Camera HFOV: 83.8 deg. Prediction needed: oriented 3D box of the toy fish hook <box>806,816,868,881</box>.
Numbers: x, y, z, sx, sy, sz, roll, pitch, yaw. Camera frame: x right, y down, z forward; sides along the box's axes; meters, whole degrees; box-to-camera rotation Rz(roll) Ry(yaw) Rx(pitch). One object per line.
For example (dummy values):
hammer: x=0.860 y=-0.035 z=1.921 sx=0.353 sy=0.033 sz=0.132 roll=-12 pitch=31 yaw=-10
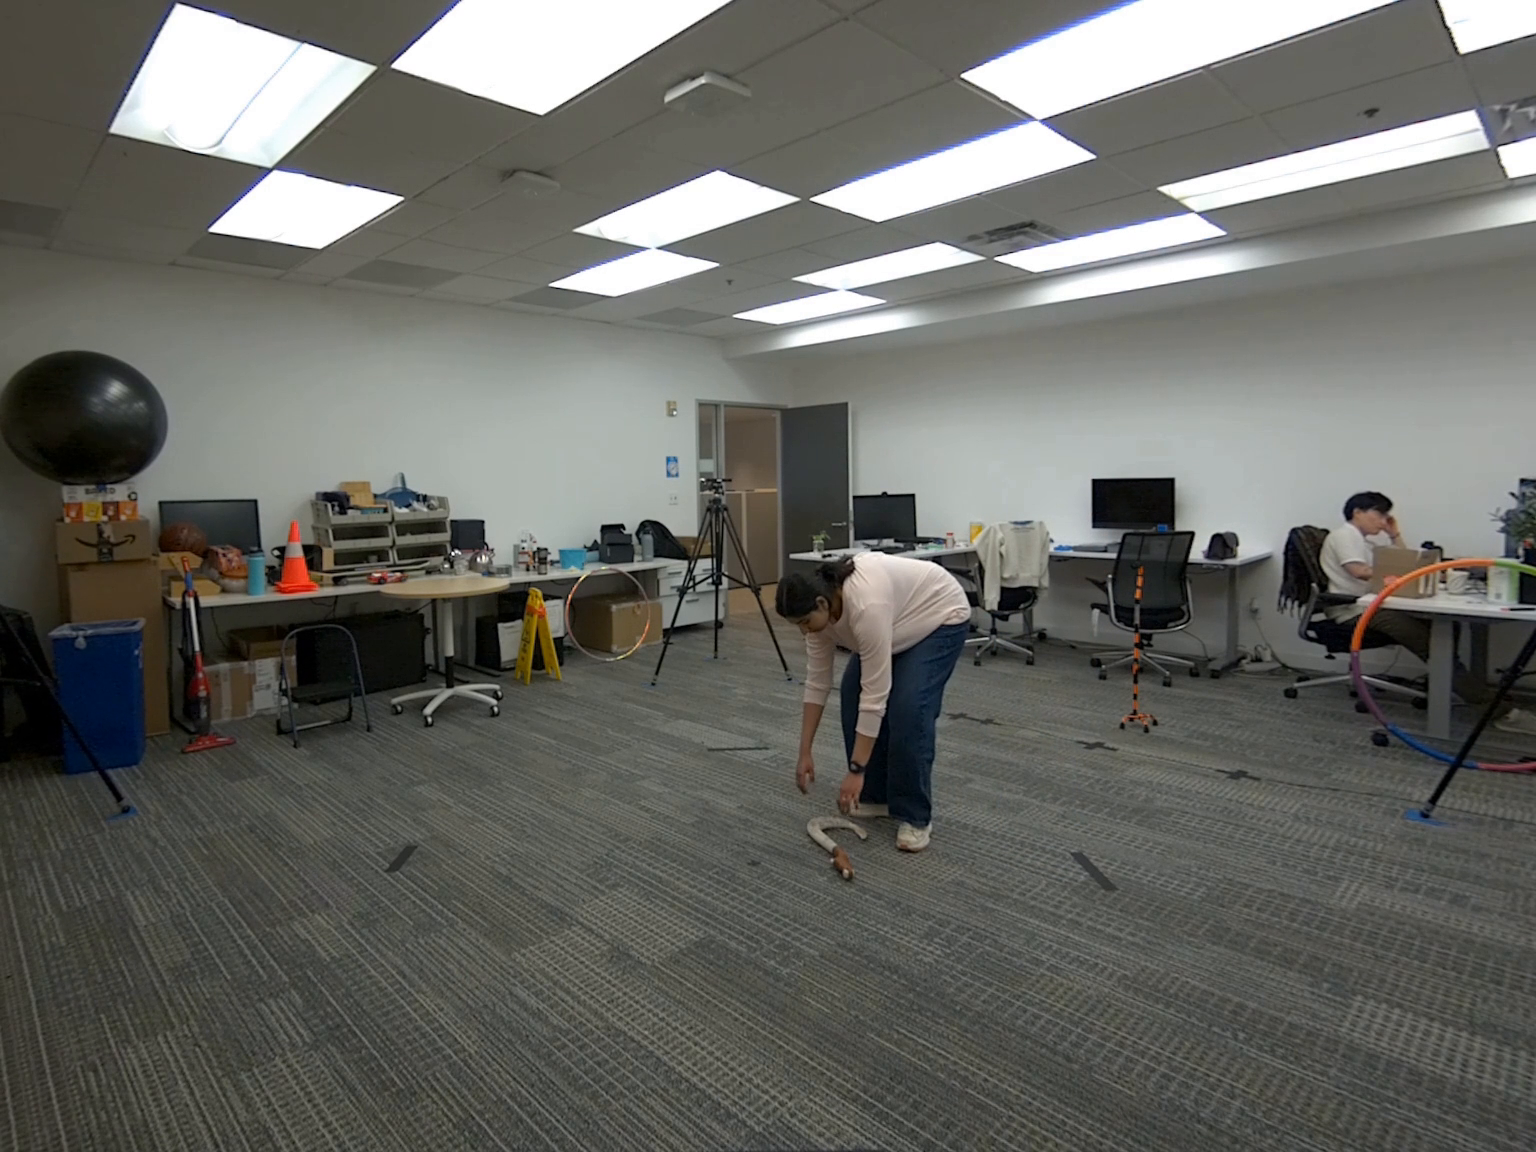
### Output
toy fish hook: x=0.292 y=1.006 z=3.196 sx=0.223 sy=0.048 sz=0.513 roll=-3 pitch=7 yaw=-10
